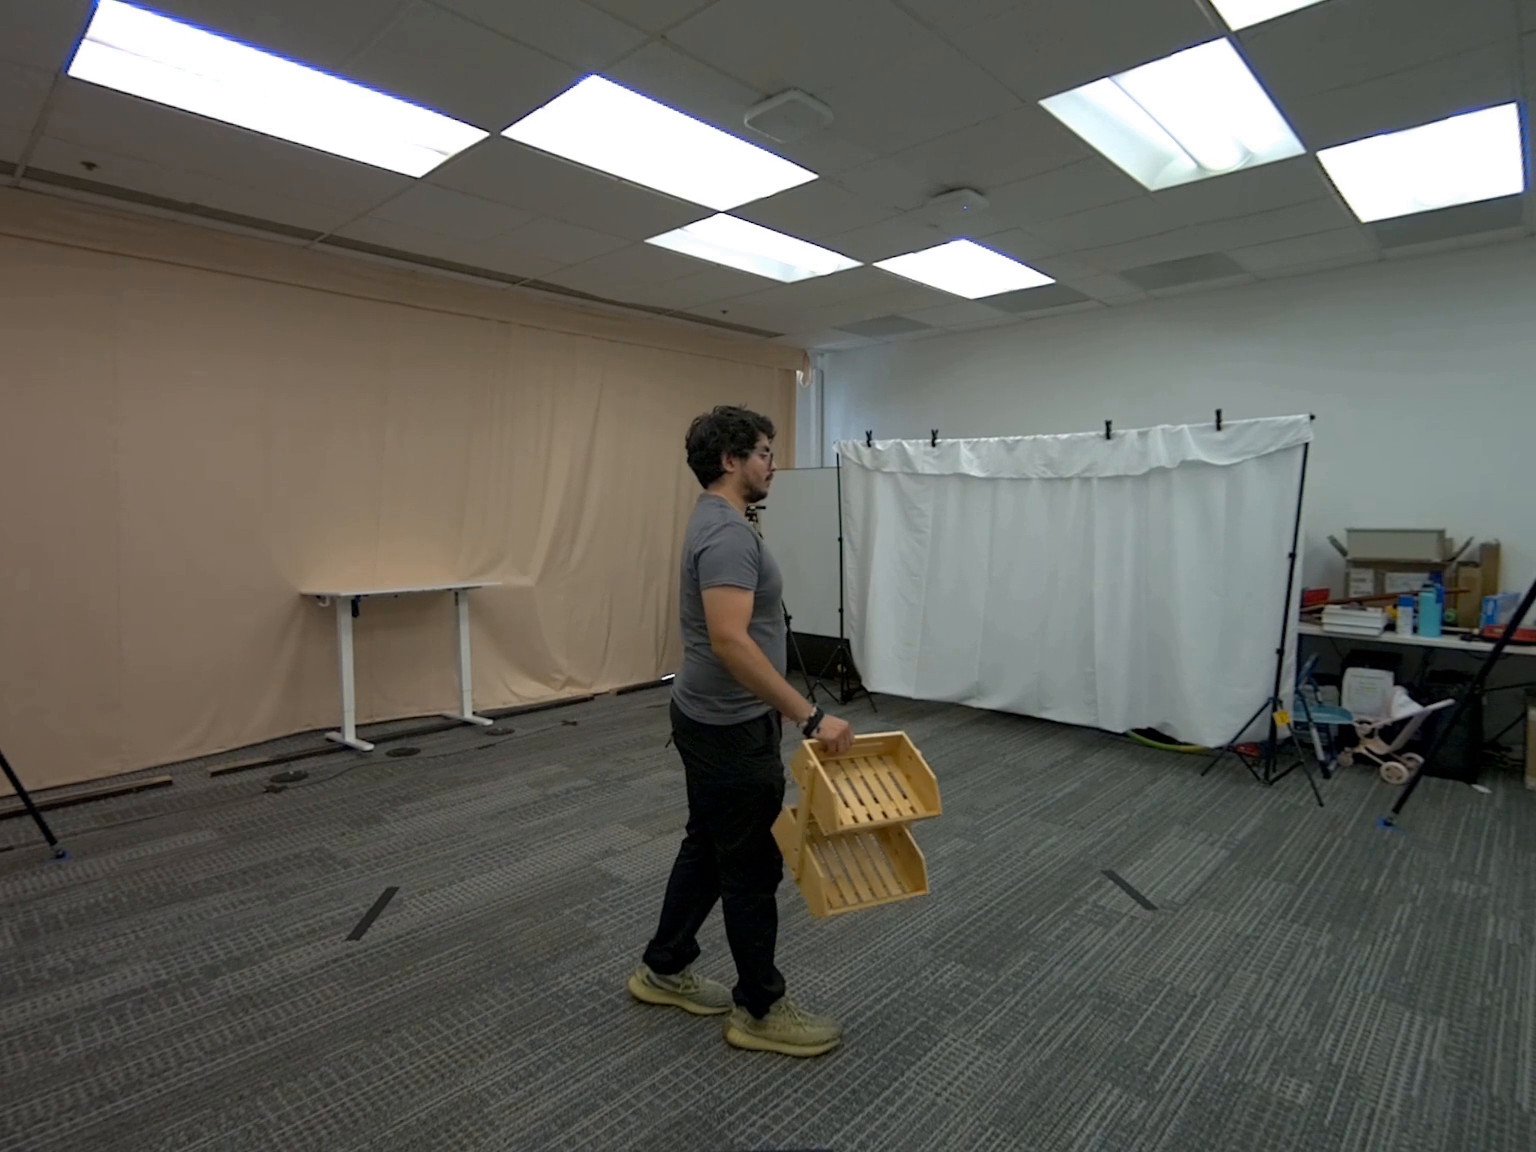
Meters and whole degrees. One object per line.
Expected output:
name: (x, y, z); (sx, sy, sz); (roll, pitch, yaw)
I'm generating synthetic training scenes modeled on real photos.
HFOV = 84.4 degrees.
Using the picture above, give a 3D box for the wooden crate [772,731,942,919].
wooden crate: (0.226, 0.568, 1.935); (0.315, 0.272, 0.312); (2, 38, -31)
